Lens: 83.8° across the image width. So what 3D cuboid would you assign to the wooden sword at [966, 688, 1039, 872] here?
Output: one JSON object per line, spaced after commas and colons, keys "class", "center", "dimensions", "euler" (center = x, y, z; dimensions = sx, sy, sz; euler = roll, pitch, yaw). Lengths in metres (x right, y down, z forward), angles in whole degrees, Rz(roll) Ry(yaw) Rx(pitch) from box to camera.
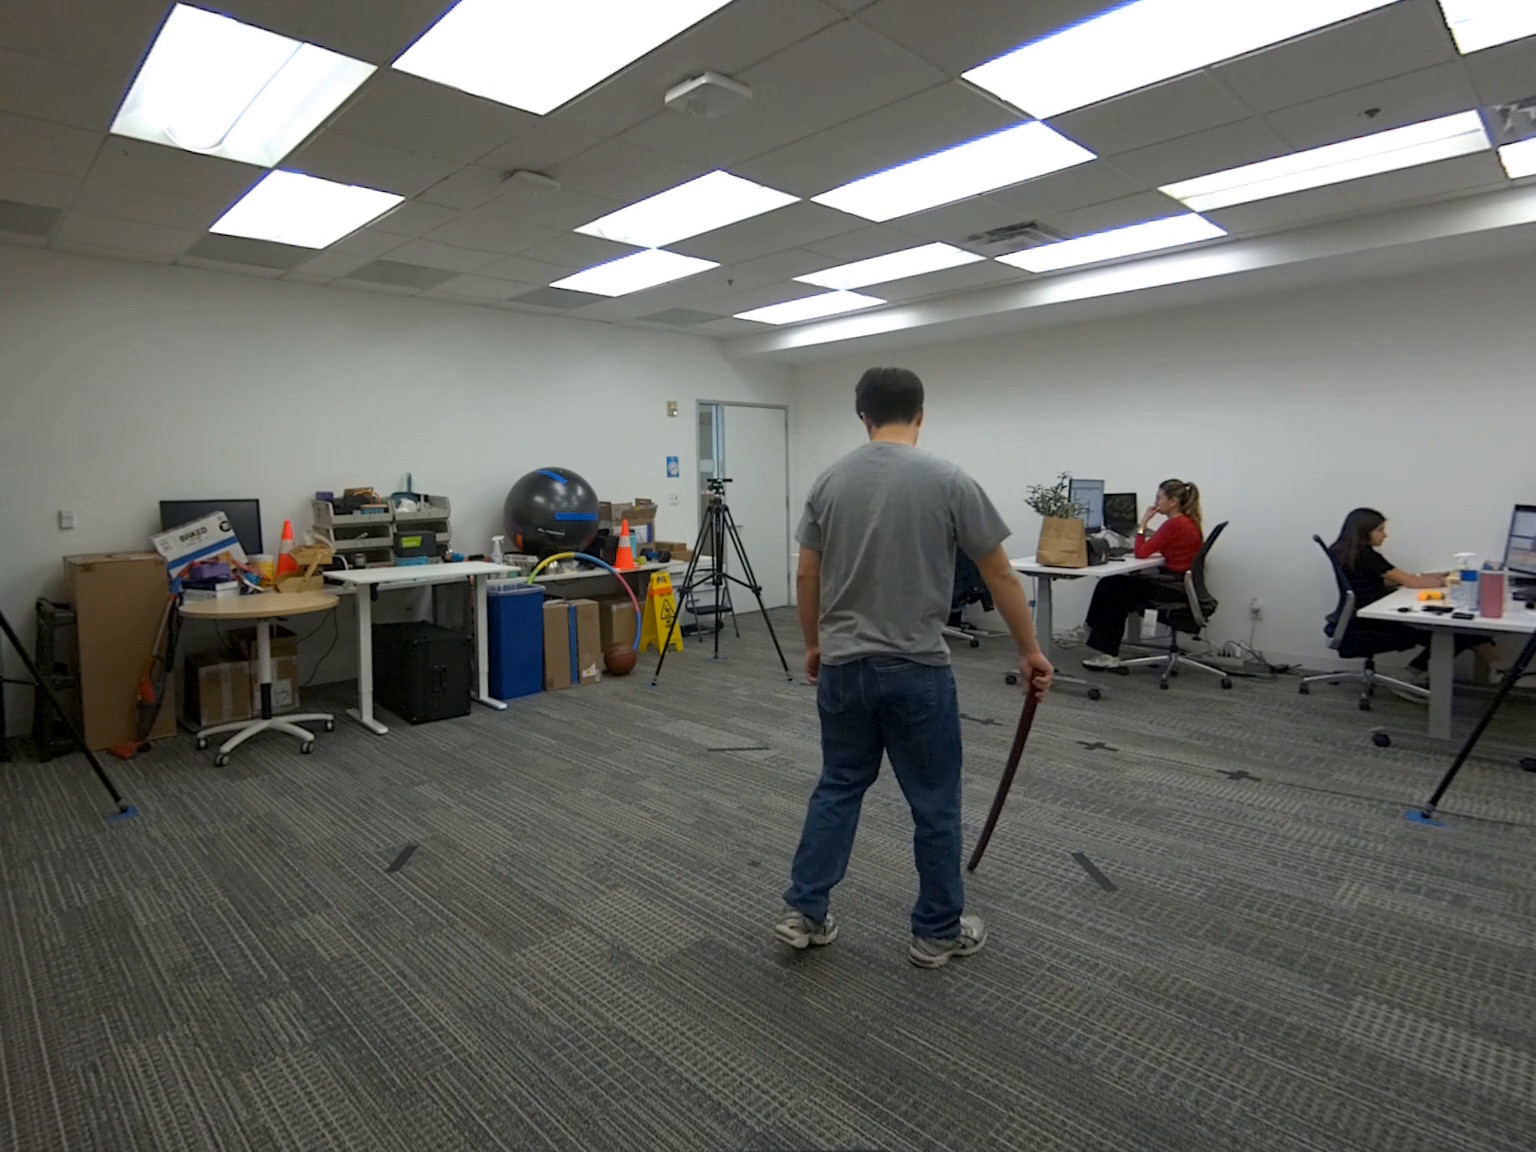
{"class": "wooden sword", "center": [0.740, 0.669, 2.714], "dimensions": [0.050, 0.999, 0.025], "euler": [-20, 46, -27]}
